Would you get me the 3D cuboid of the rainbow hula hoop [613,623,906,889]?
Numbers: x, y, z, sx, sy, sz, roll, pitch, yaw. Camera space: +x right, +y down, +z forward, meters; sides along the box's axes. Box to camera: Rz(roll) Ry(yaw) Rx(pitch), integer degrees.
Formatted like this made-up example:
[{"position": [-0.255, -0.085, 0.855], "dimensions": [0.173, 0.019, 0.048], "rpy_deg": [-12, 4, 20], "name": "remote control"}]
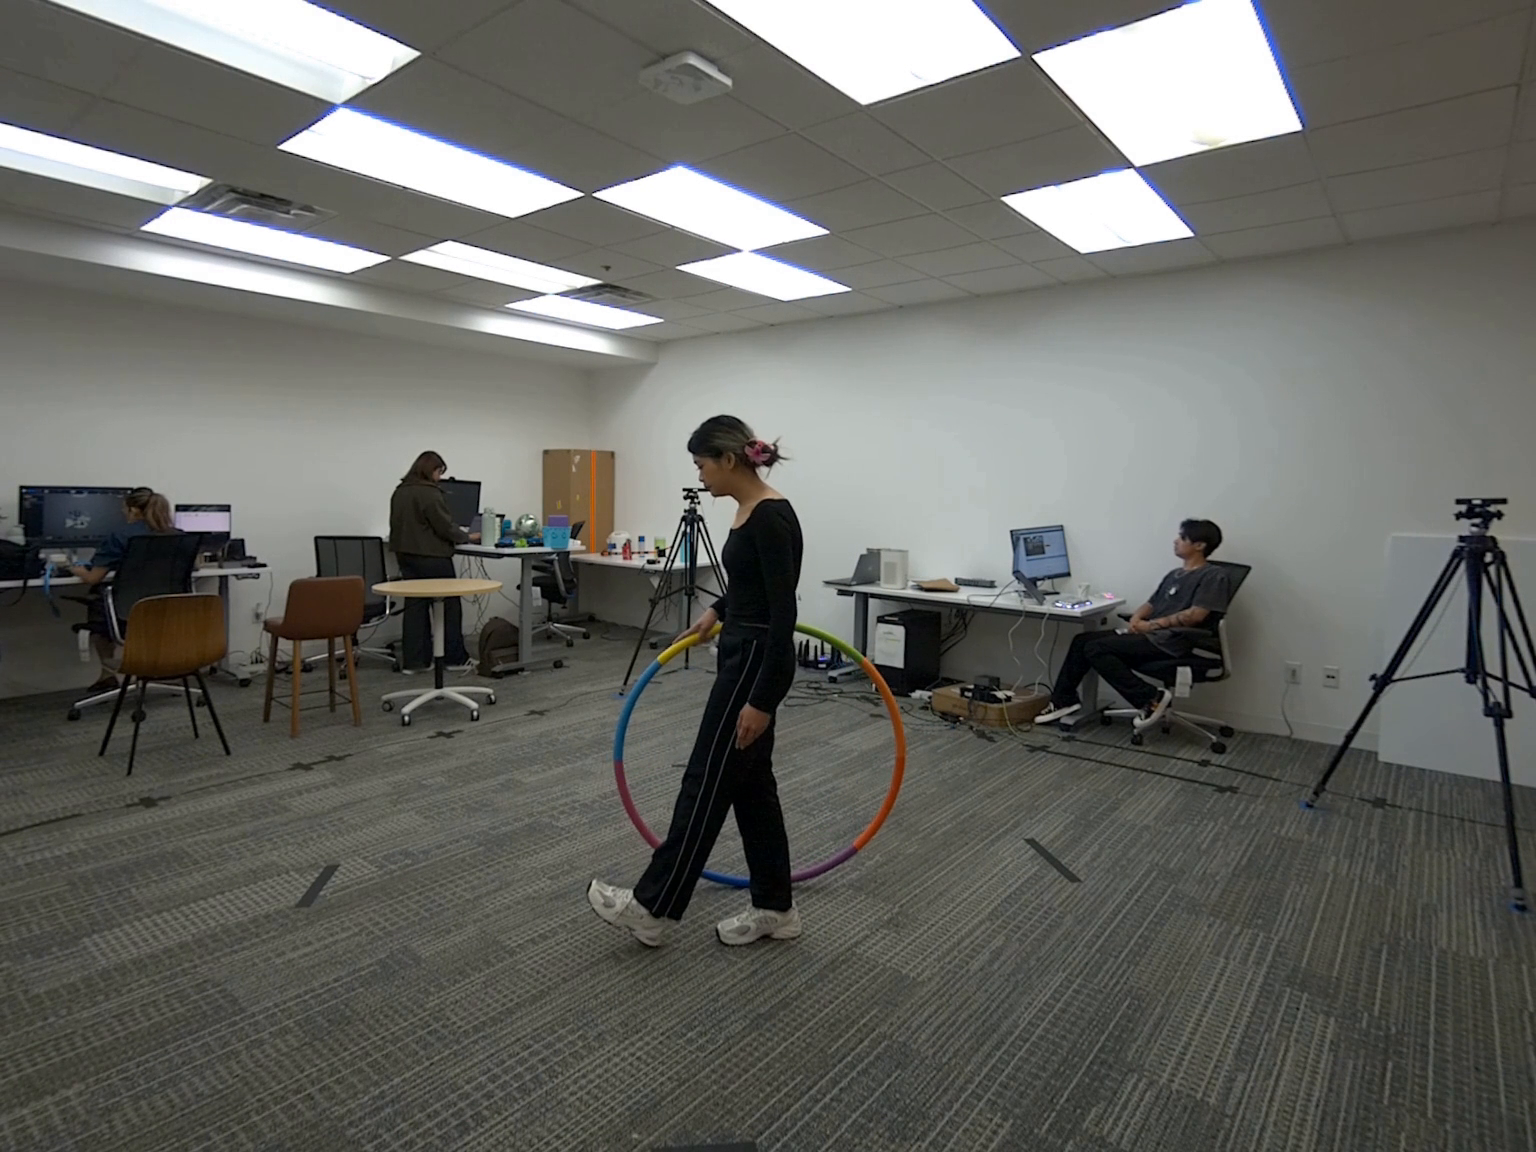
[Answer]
[{"position": [-0.037, 0.618, 2.908], "dimensions": [0.975, 0.970, 0.036], "rpy_deg": [1, 9, -3], "name": "rainbow hula hoop"}]
